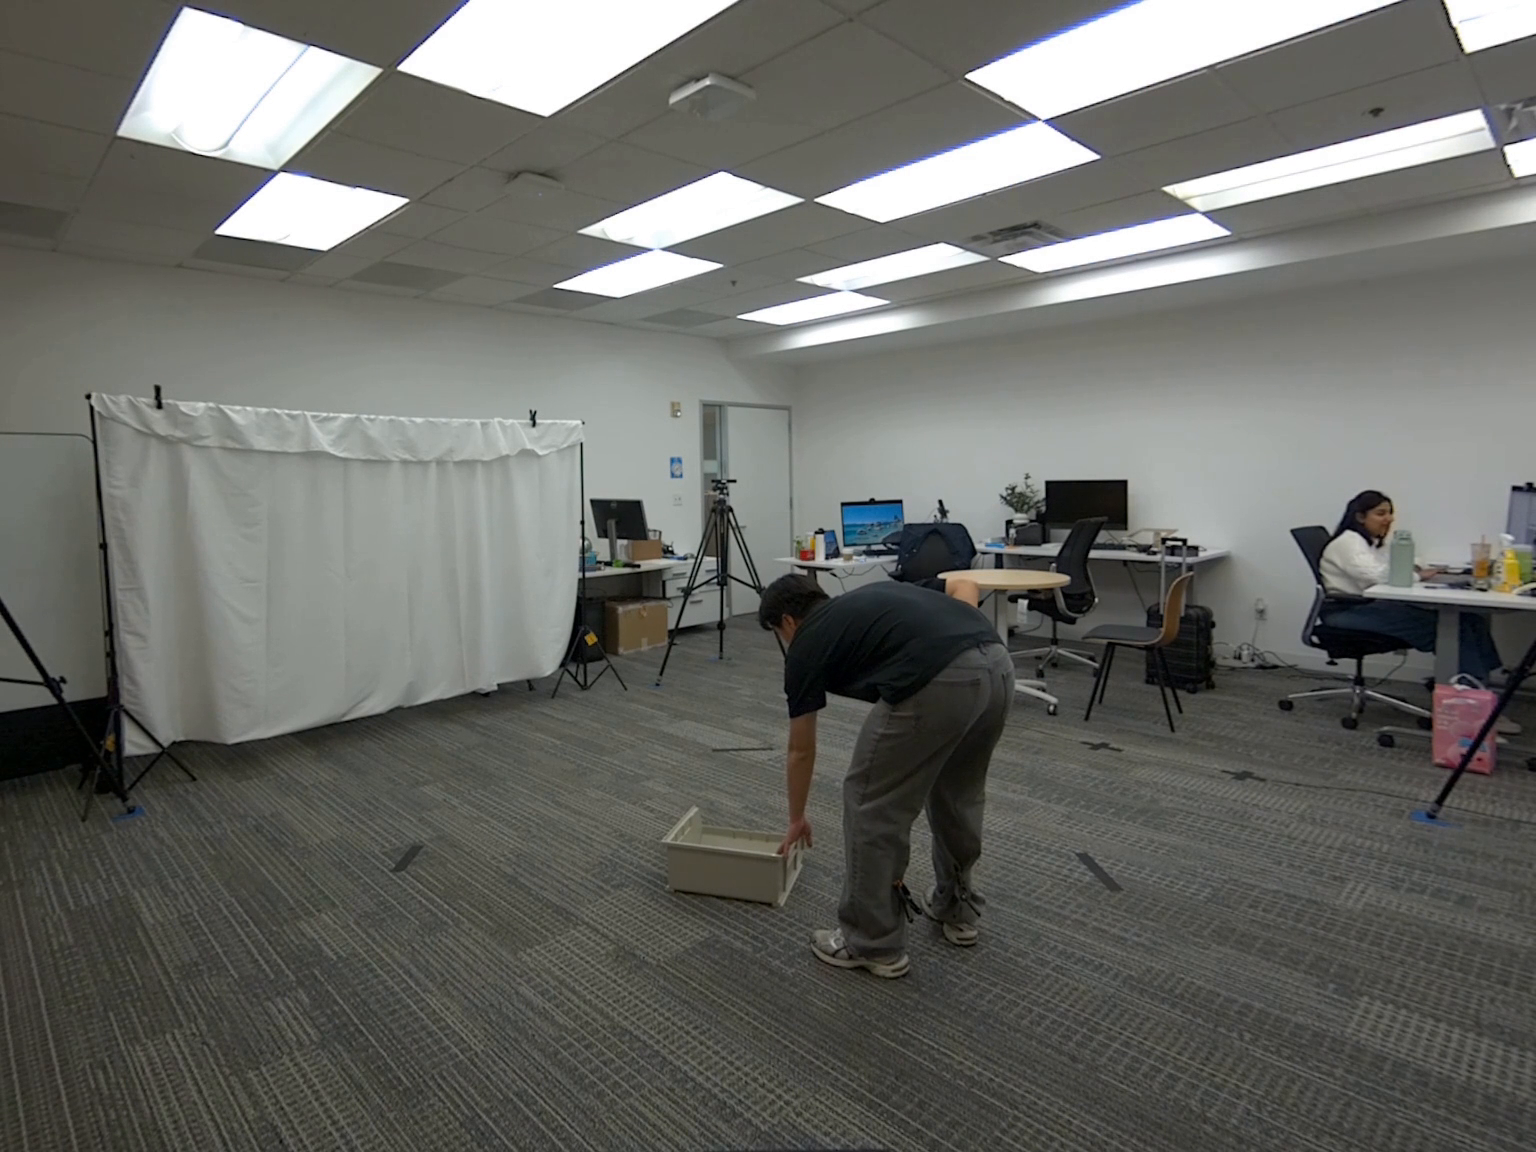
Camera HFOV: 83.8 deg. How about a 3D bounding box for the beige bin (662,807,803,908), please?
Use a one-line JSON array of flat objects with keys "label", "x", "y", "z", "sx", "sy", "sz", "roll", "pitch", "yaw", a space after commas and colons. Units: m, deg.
[{"label": "beige bin", "x": -0.109, "y": 0.972, "z": 3.010, "sx": 0.429, "sy": 0.188, "sz": 0.373, "roll": 1, "pitch": 7, "yaw": 16}]
